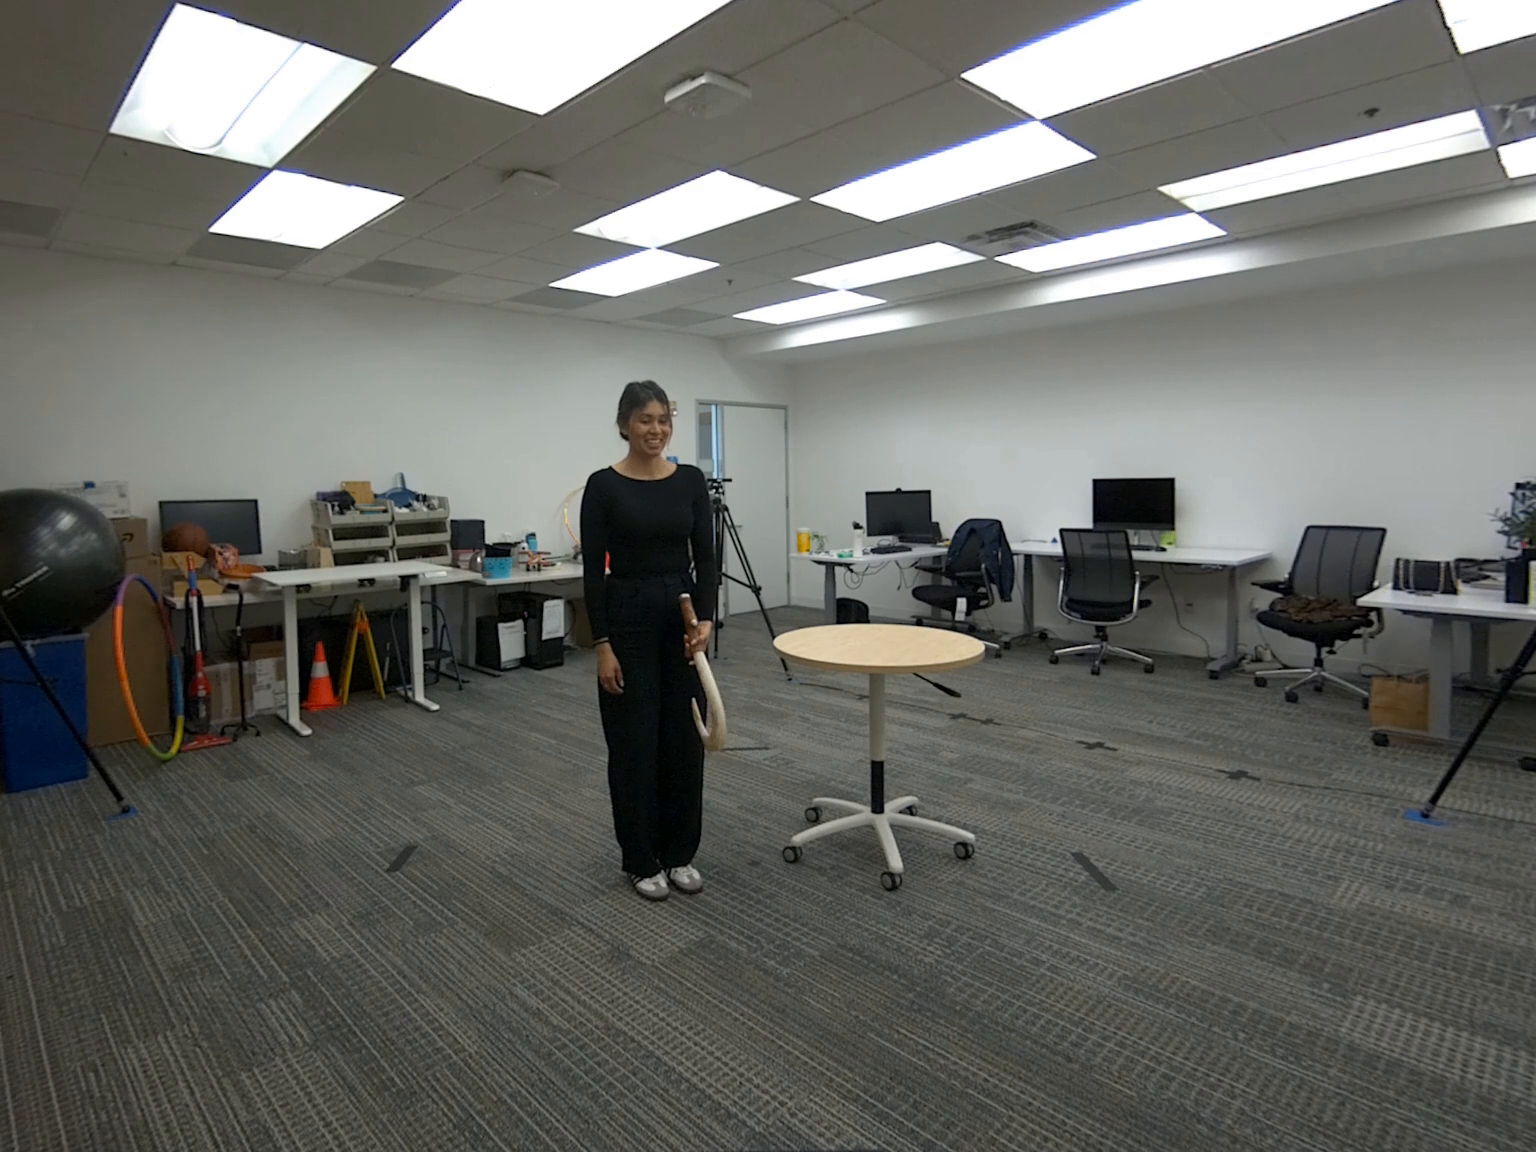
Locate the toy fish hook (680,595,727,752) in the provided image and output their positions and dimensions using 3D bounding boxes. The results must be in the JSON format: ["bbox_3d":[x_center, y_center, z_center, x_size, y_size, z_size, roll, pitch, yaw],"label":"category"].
[{"bbox_3d":[-0.220,0.312,2.712,0.047,0.518,0.225,-3,-24,-29],"label":"toy fish hook"}]
